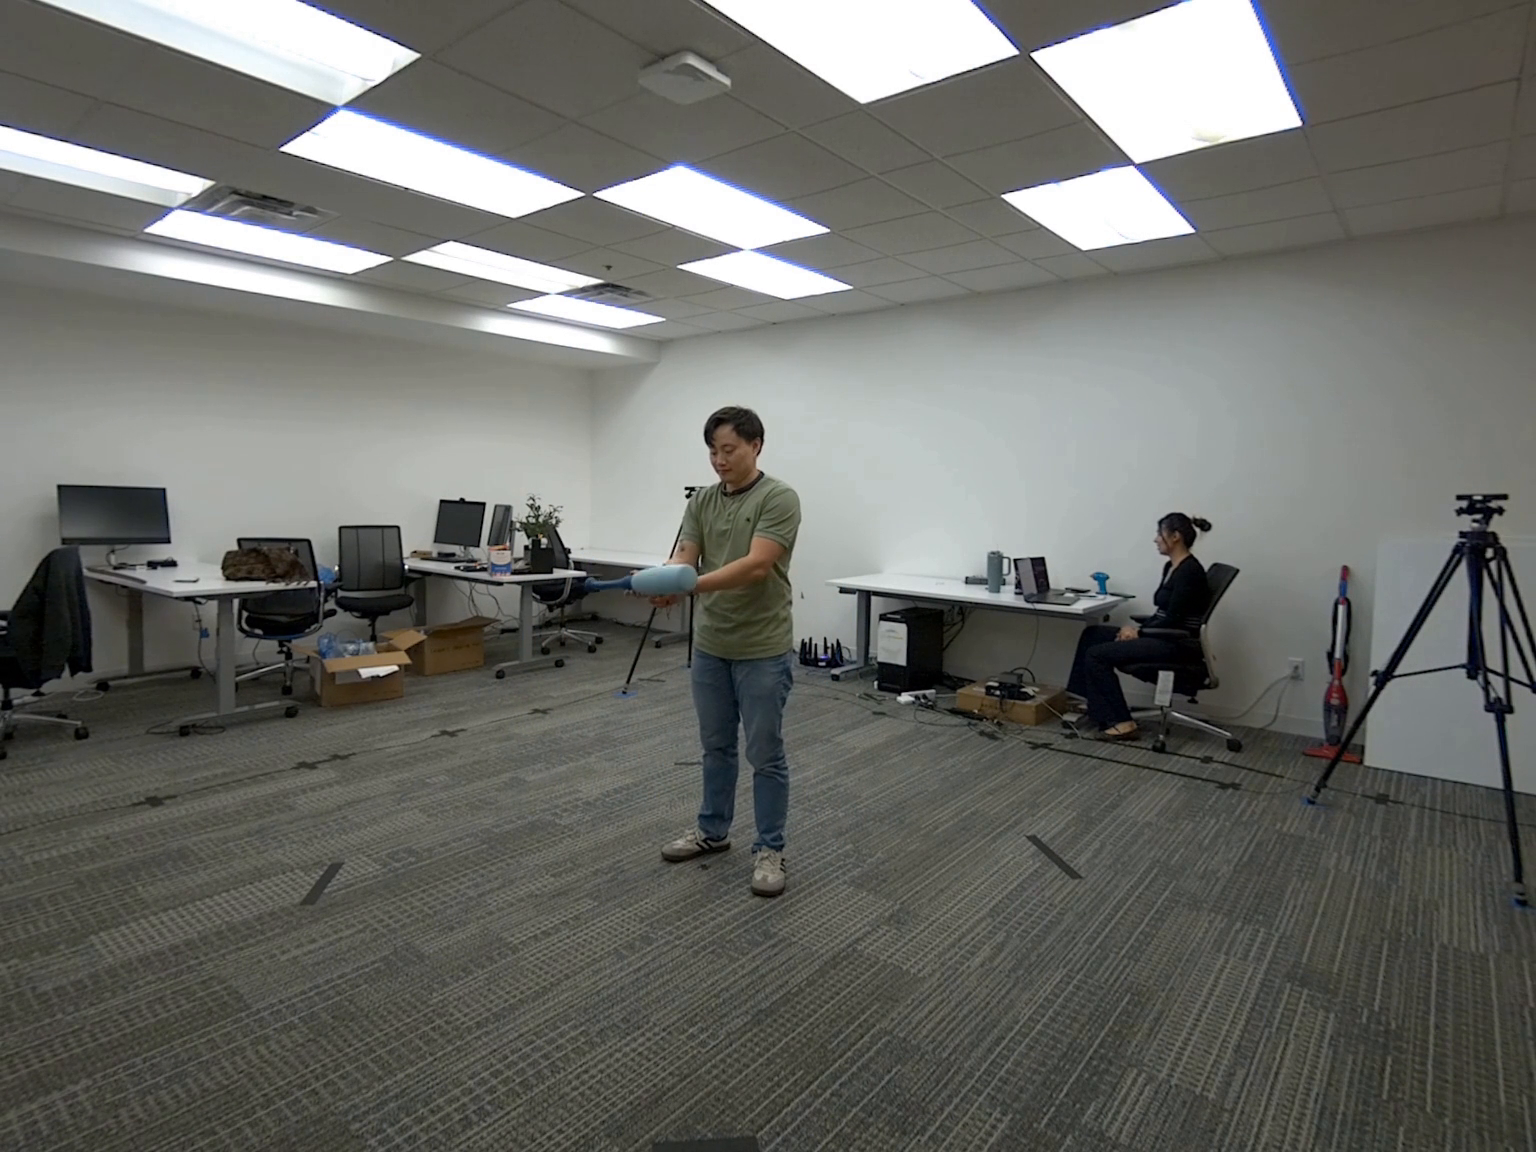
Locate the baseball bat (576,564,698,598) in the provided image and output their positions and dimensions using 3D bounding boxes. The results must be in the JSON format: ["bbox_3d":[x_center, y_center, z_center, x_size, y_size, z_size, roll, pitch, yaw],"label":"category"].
[{"bbox_3d":[-0.445,0.021,2.768,0.086,0.089,0.559,-3,-1,-42],"label":"baseball bat"}]
